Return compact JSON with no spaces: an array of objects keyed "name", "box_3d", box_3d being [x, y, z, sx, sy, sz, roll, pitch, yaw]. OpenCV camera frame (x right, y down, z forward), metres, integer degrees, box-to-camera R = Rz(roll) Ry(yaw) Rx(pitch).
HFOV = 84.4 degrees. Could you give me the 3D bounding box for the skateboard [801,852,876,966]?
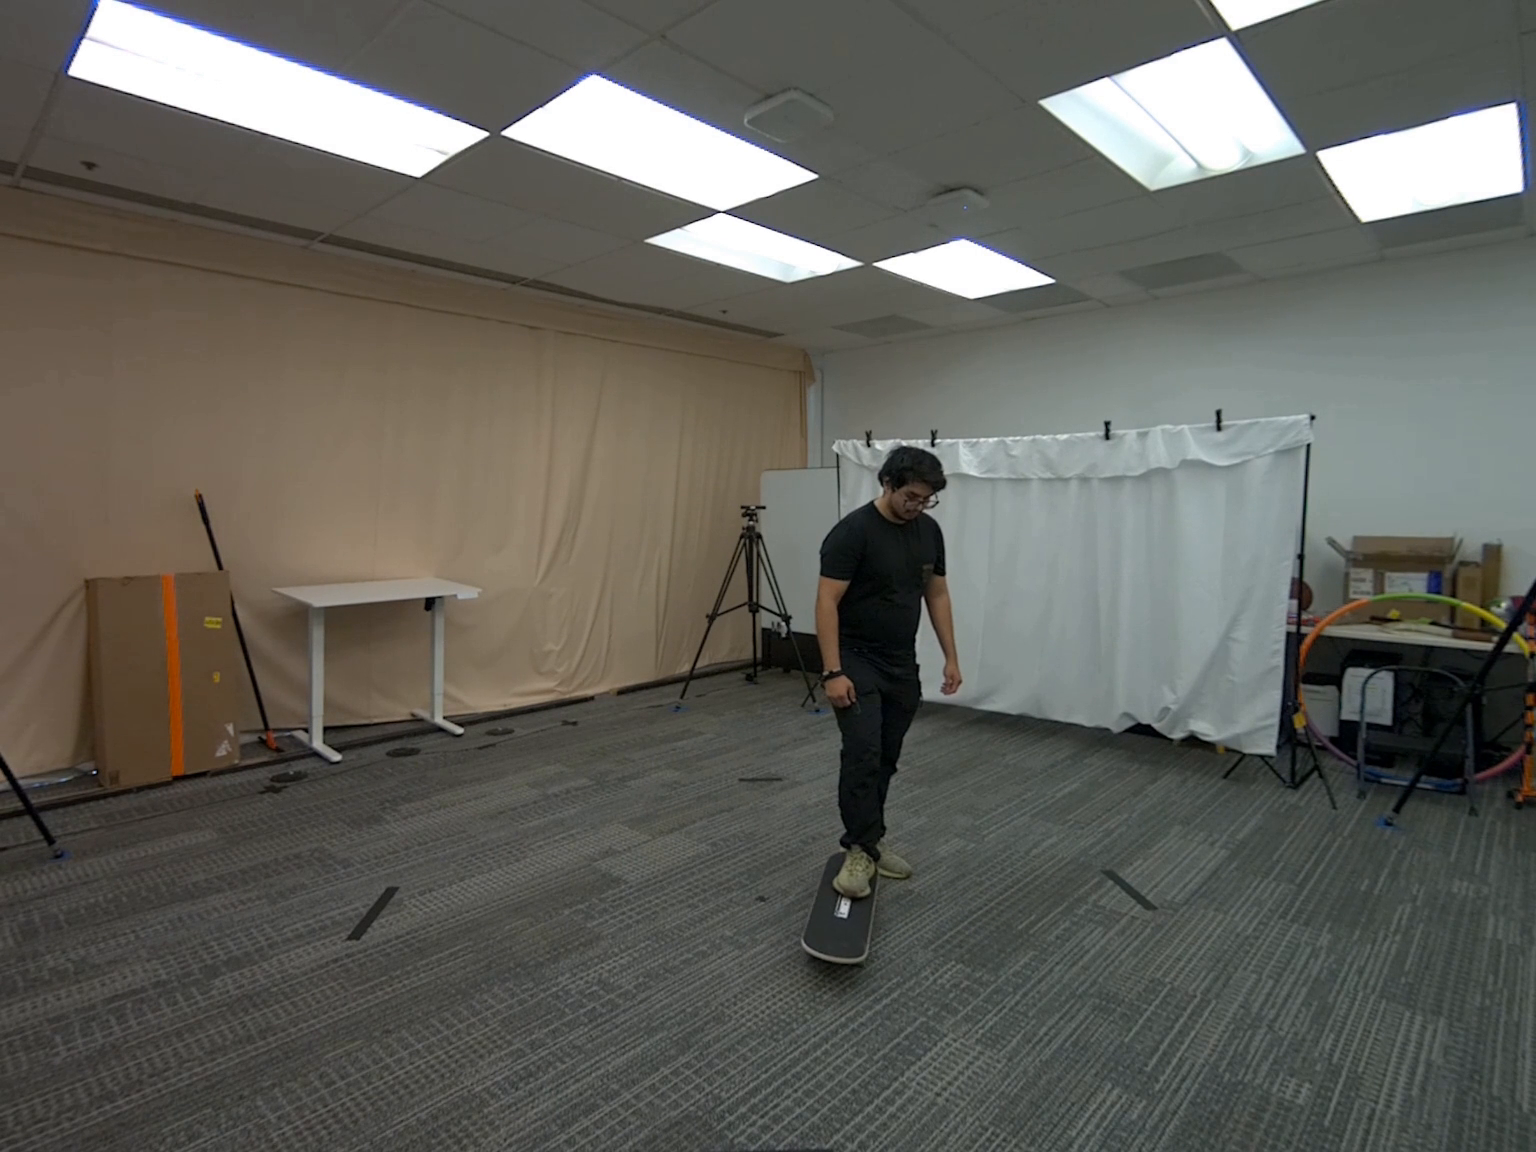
[{"name":"skateboard","box_3d":[0.256,1.106,2.752,0.196,0.110,0.776,5,4,11]}]
